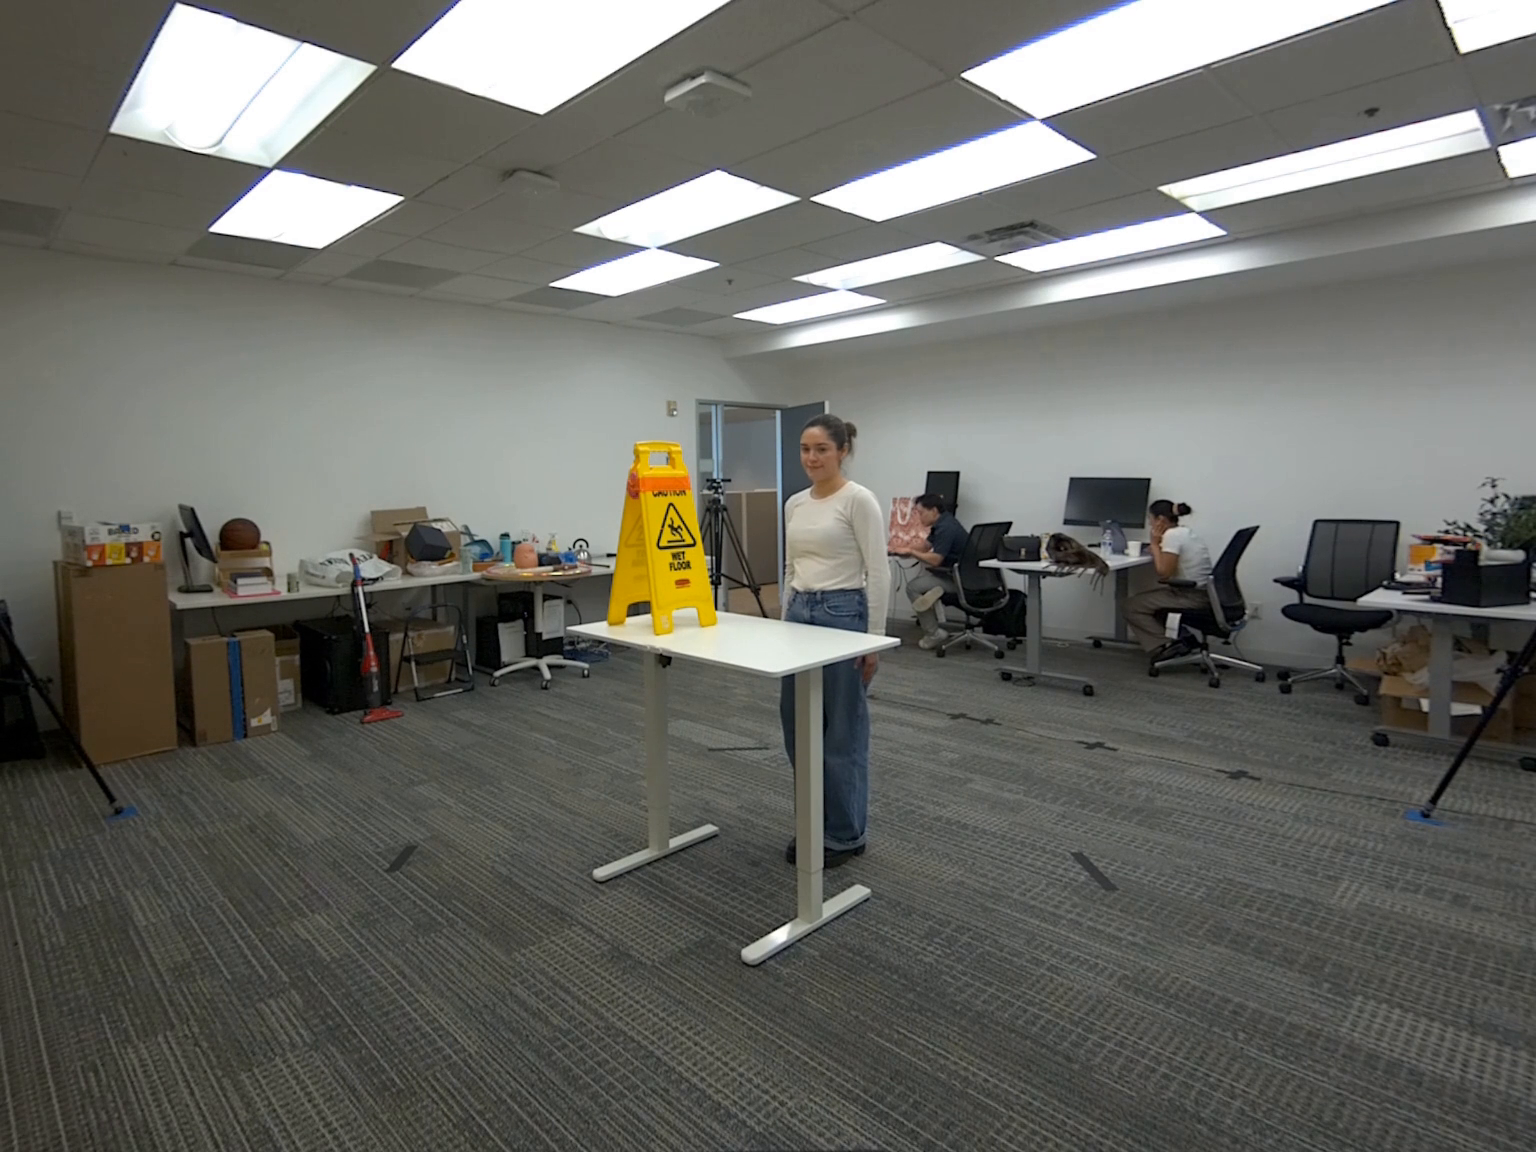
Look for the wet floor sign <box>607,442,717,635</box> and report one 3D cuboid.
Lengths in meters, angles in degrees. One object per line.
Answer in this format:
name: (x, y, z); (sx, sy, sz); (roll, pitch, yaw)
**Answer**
wet floor sign: (-0.385, -0.145, 3.013); (0.298, 0.644, 0.275); (2, 5, 44)
